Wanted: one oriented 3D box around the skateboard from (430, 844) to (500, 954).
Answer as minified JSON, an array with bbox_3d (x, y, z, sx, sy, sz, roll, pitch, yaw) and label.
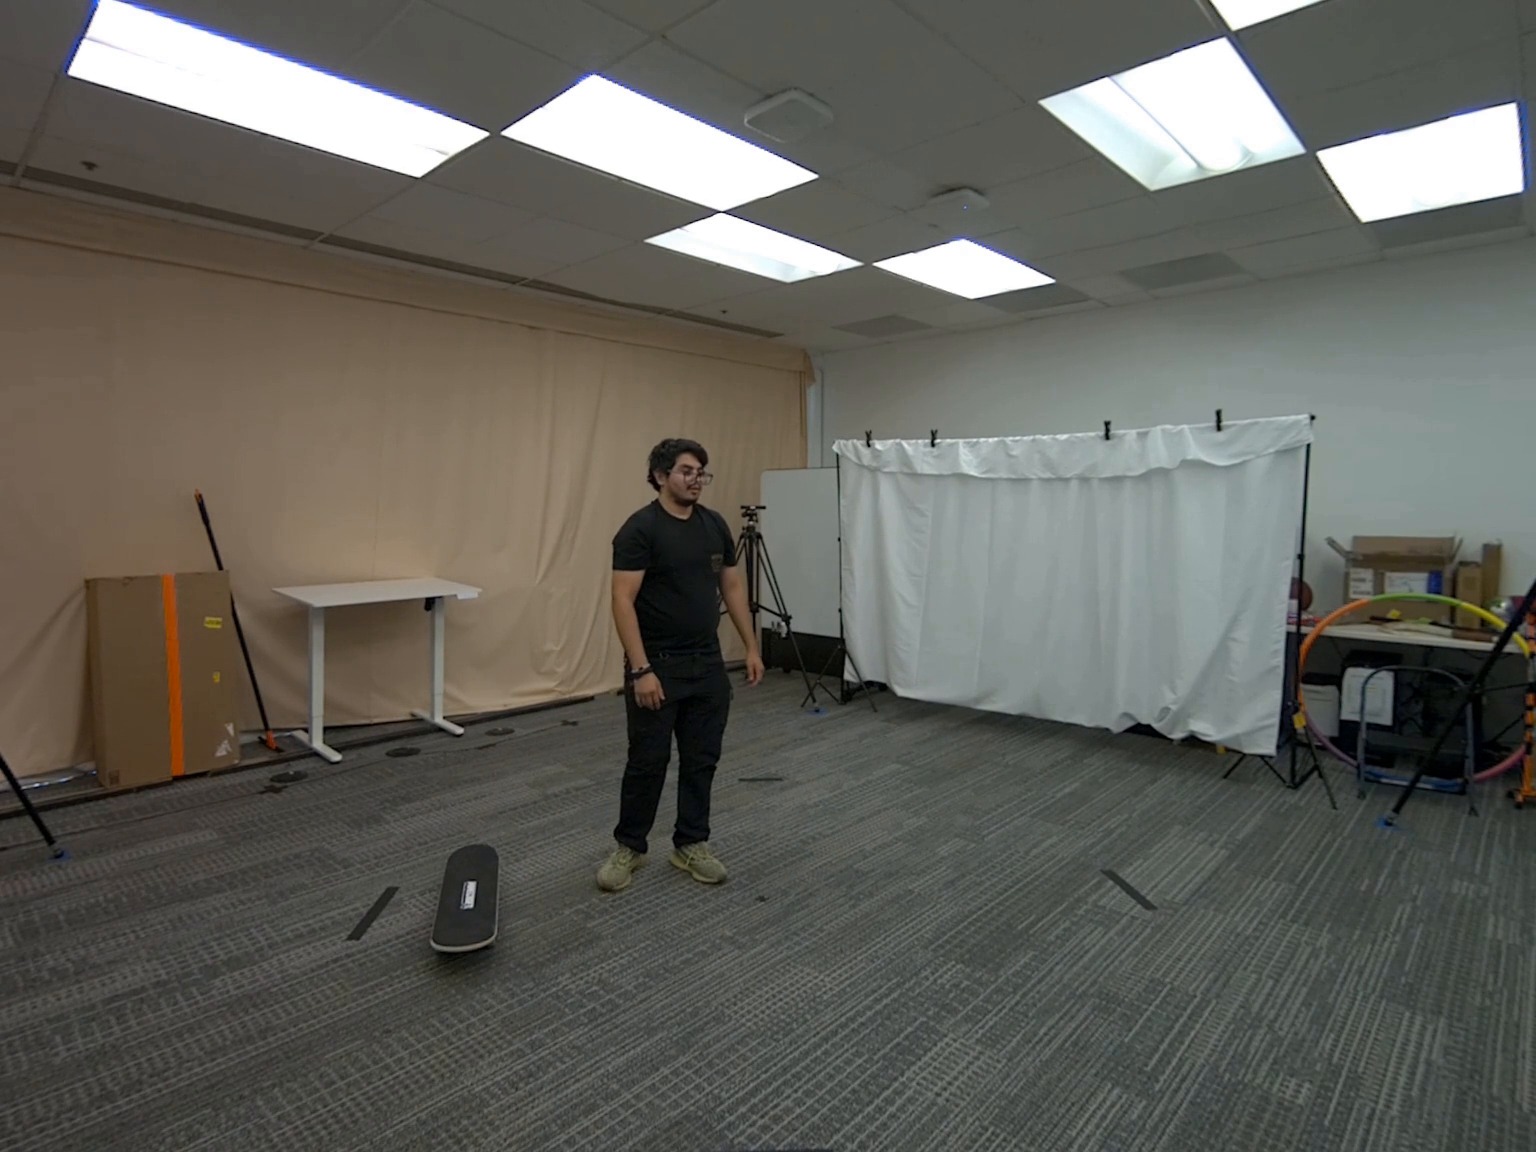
[{"bbox_3d":[-1.014,1.109,2.837,0.190,0.110,0.800,-1,4,-17],"label":"skateboard"}]
